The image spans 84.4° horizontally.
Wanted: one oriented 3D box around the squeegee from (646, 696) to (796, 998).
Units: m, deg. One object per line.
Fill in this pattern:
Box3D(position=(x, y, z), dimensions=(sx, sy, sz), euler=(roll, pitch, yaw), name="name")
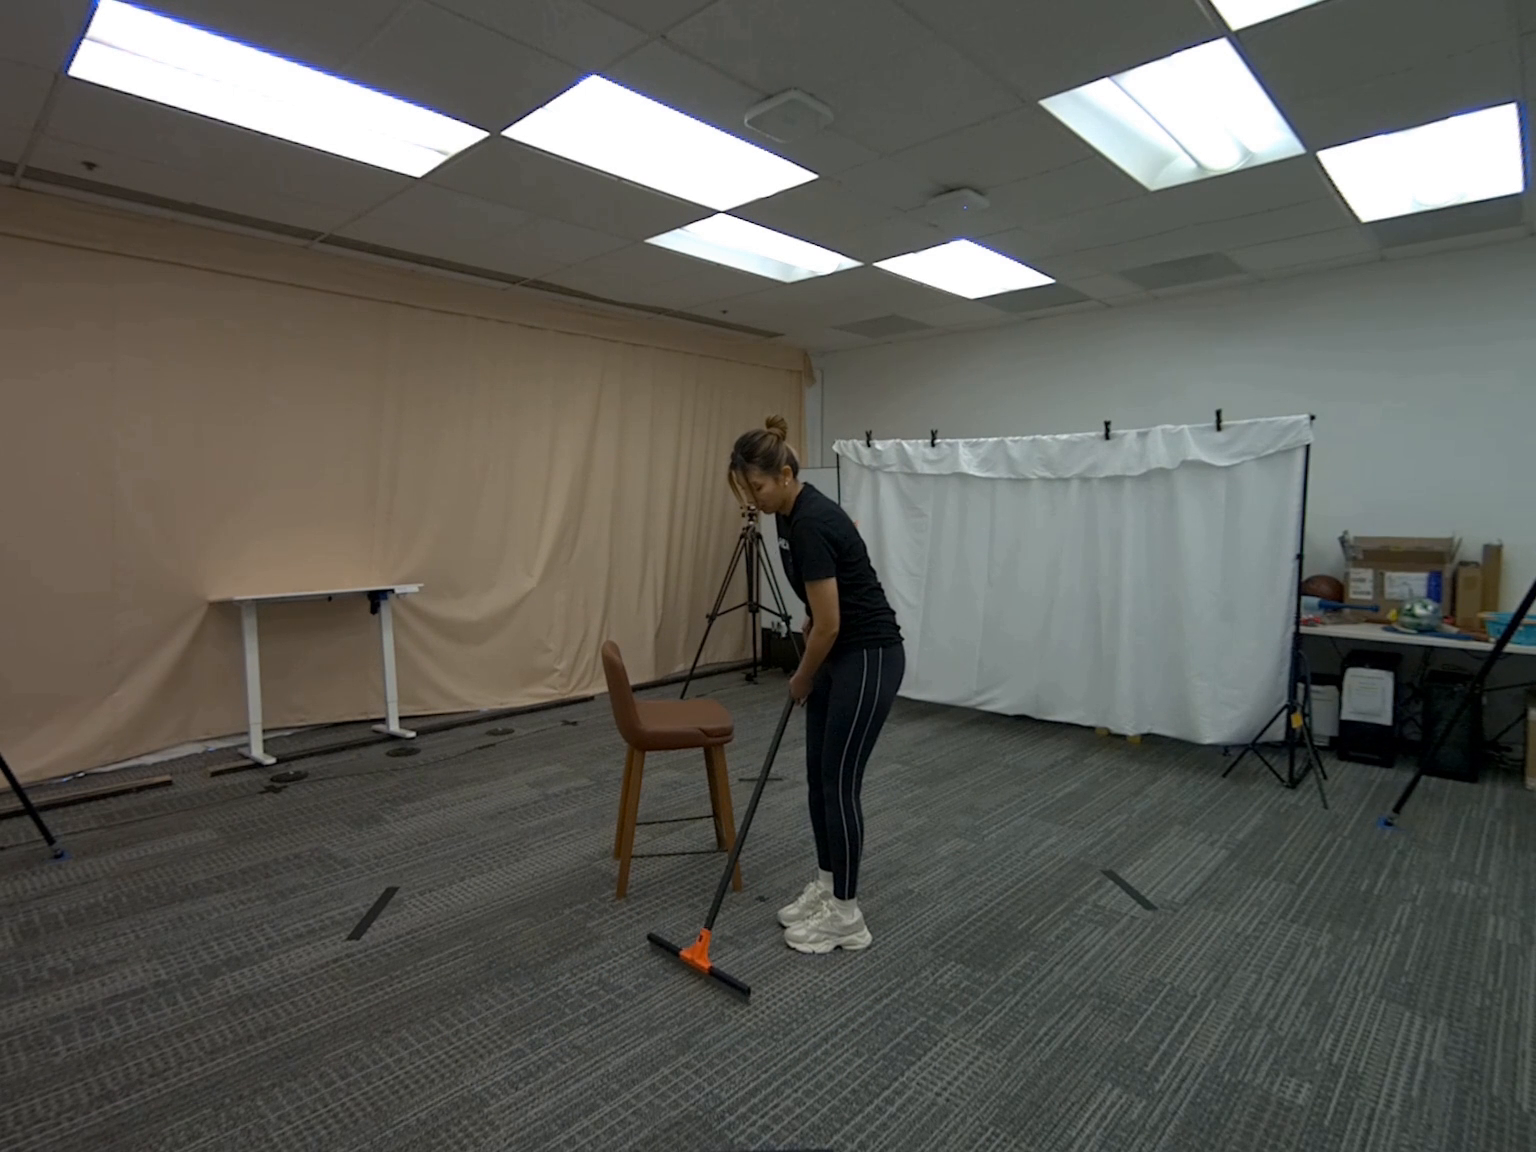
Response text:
Box3D(position=(0.026, 0.481, 2.734), dimensions=(0.452, 1.543, 0.051), euler=(0, -28, 44), name="squeegee")
